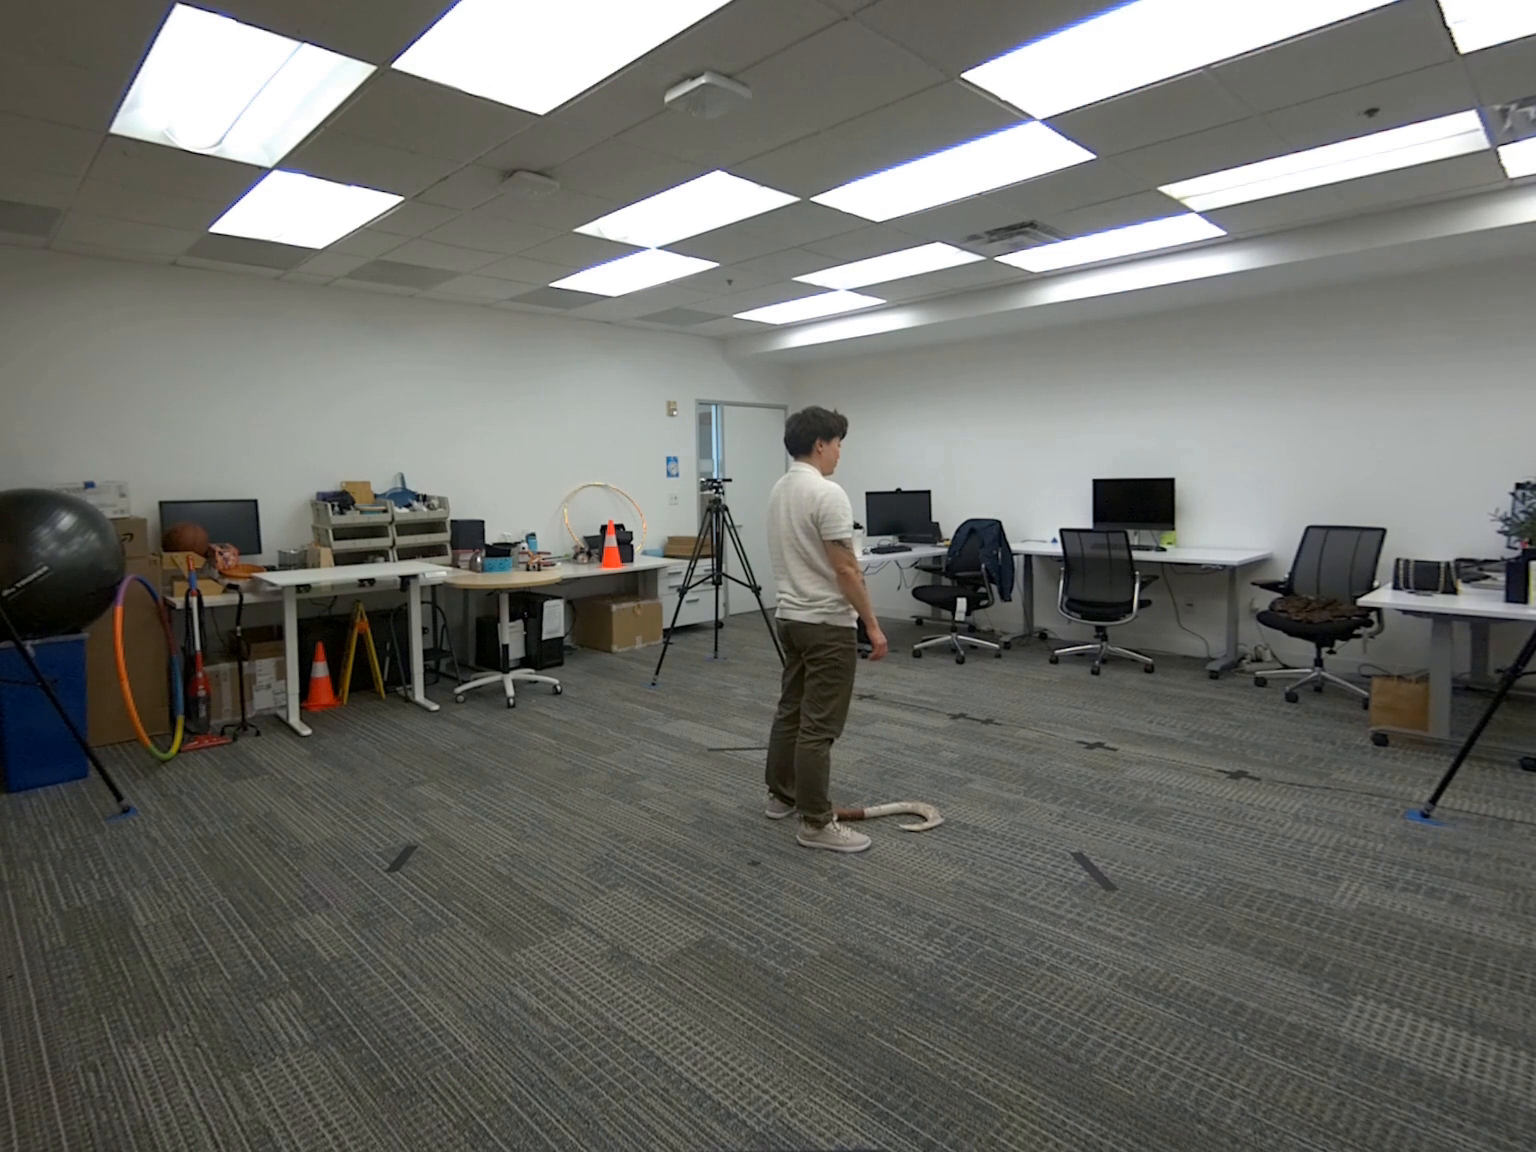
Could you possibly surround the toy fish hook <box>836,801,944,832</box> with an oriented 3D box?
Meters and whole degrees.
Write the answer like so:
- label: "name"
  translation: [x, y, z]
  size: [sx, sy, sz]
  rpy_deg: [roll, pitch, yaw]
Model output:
- label: "toy fish hook"
  translation: [0.448, 0.969, 3.448]
  size: [0.504, 0.048, 0.226]
  rpy_deg: [-2, 6, -5]
